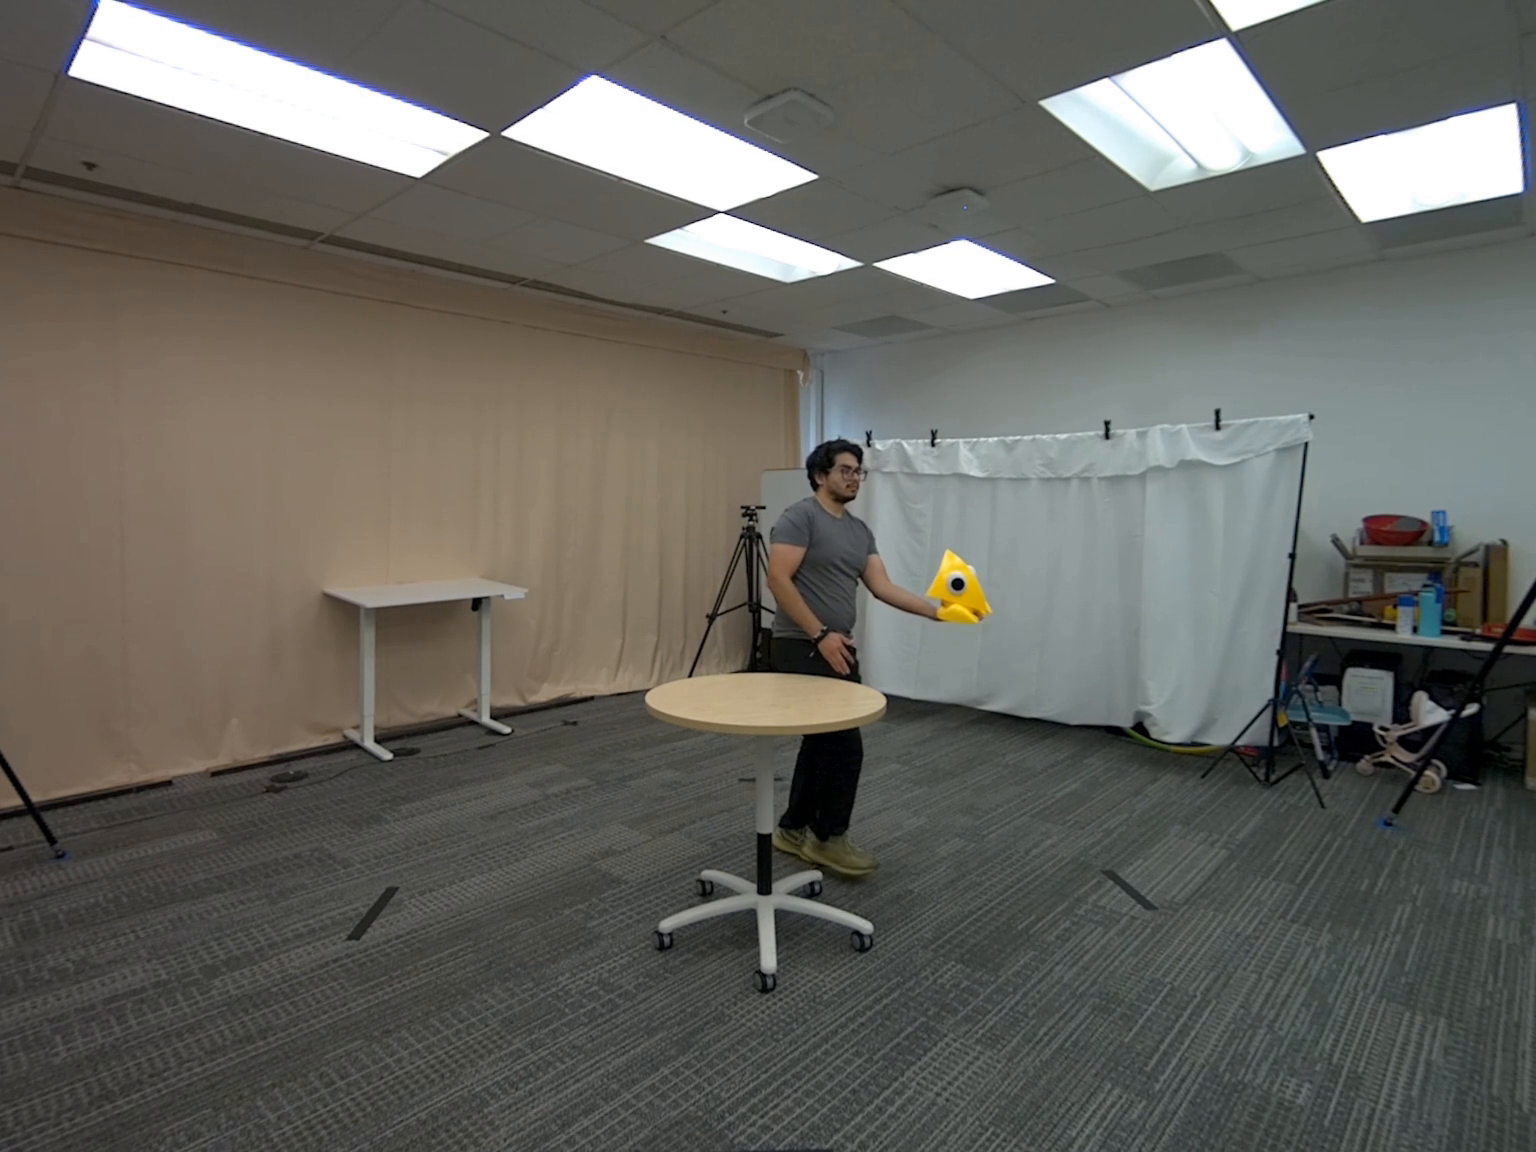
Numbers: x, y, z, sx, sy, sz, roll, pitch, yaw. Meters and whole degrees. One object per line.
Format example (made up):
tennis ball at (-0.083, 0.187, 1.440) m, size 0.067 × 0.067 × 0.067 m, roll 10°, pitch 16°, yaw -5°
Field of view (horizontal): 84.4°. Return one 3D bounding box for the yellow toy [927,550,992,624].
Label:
yellow toy at (0.704, 0.027, 3.008) m, size 0.200 × 0.228 × 0.200 m, roll 11°, pitch 19°, yaw 38°
